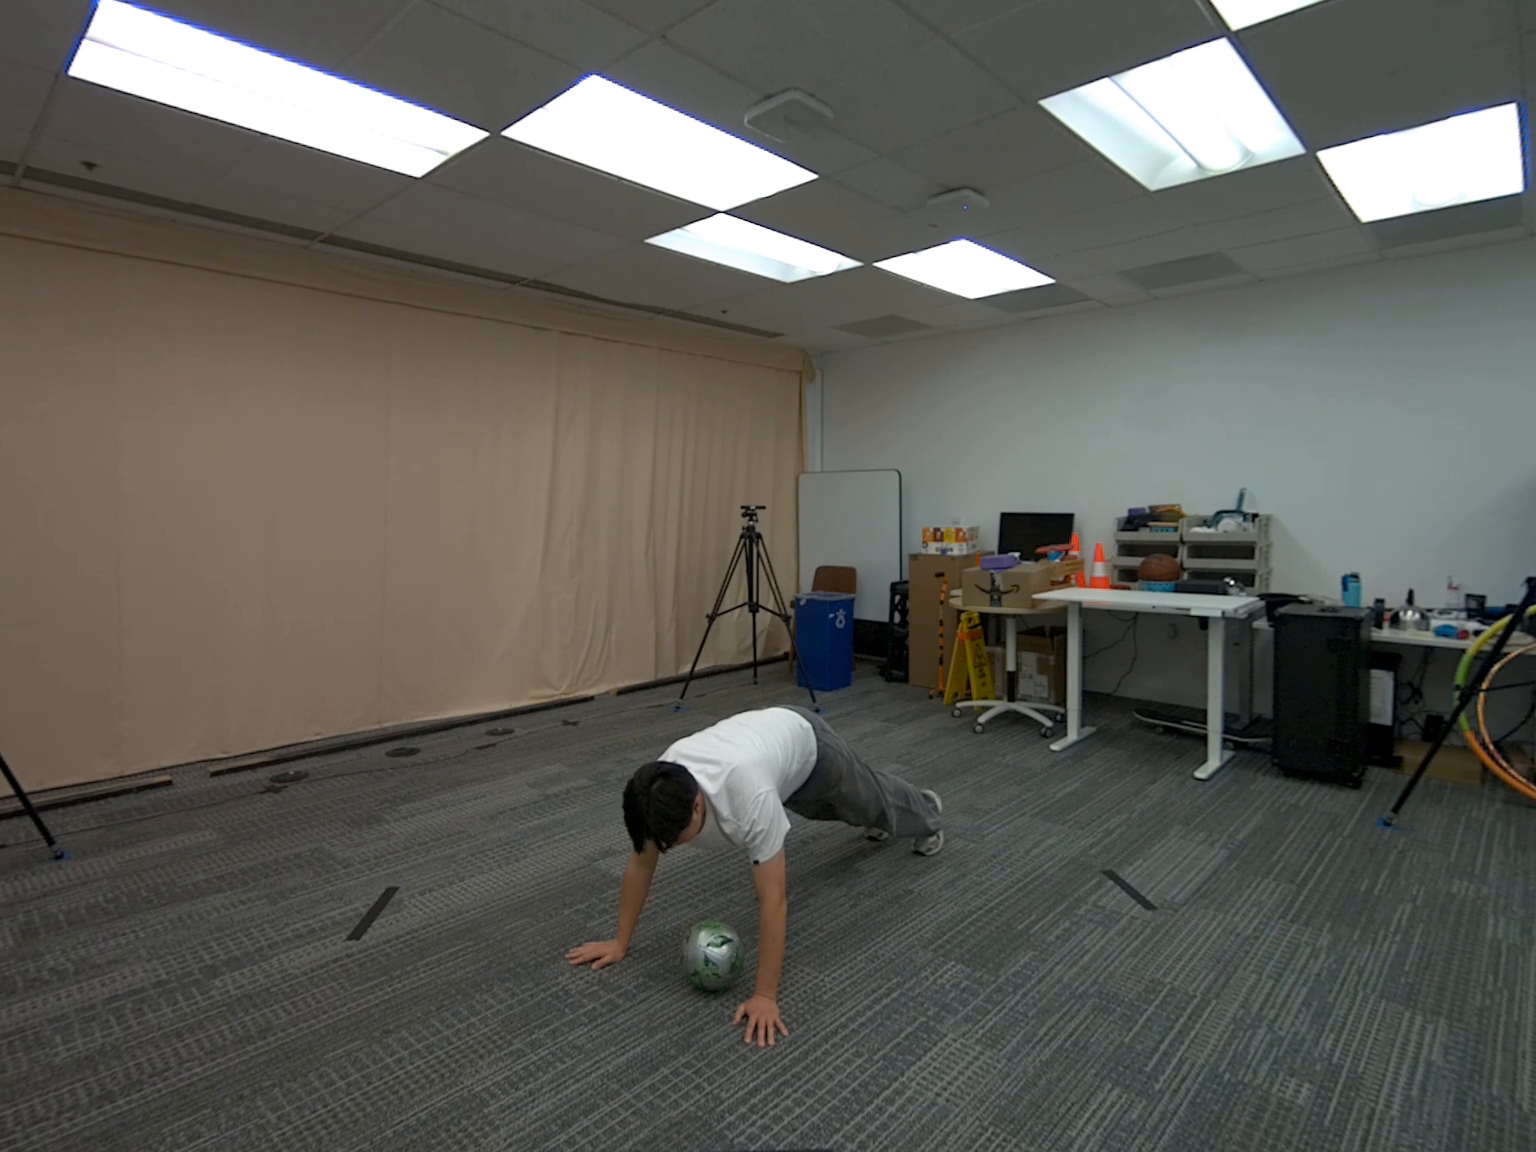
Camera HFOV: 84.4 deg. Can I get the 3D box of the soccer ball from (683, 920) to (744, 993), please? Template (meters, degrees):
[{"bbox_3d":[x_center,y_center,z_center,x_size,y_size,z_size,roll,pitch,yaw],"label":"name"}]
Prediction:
[{"bbox_3d":[-0.154,1.099,2.437,0.187,0.187,0.188,0,4,-2],"label":"soccer ball"}]
